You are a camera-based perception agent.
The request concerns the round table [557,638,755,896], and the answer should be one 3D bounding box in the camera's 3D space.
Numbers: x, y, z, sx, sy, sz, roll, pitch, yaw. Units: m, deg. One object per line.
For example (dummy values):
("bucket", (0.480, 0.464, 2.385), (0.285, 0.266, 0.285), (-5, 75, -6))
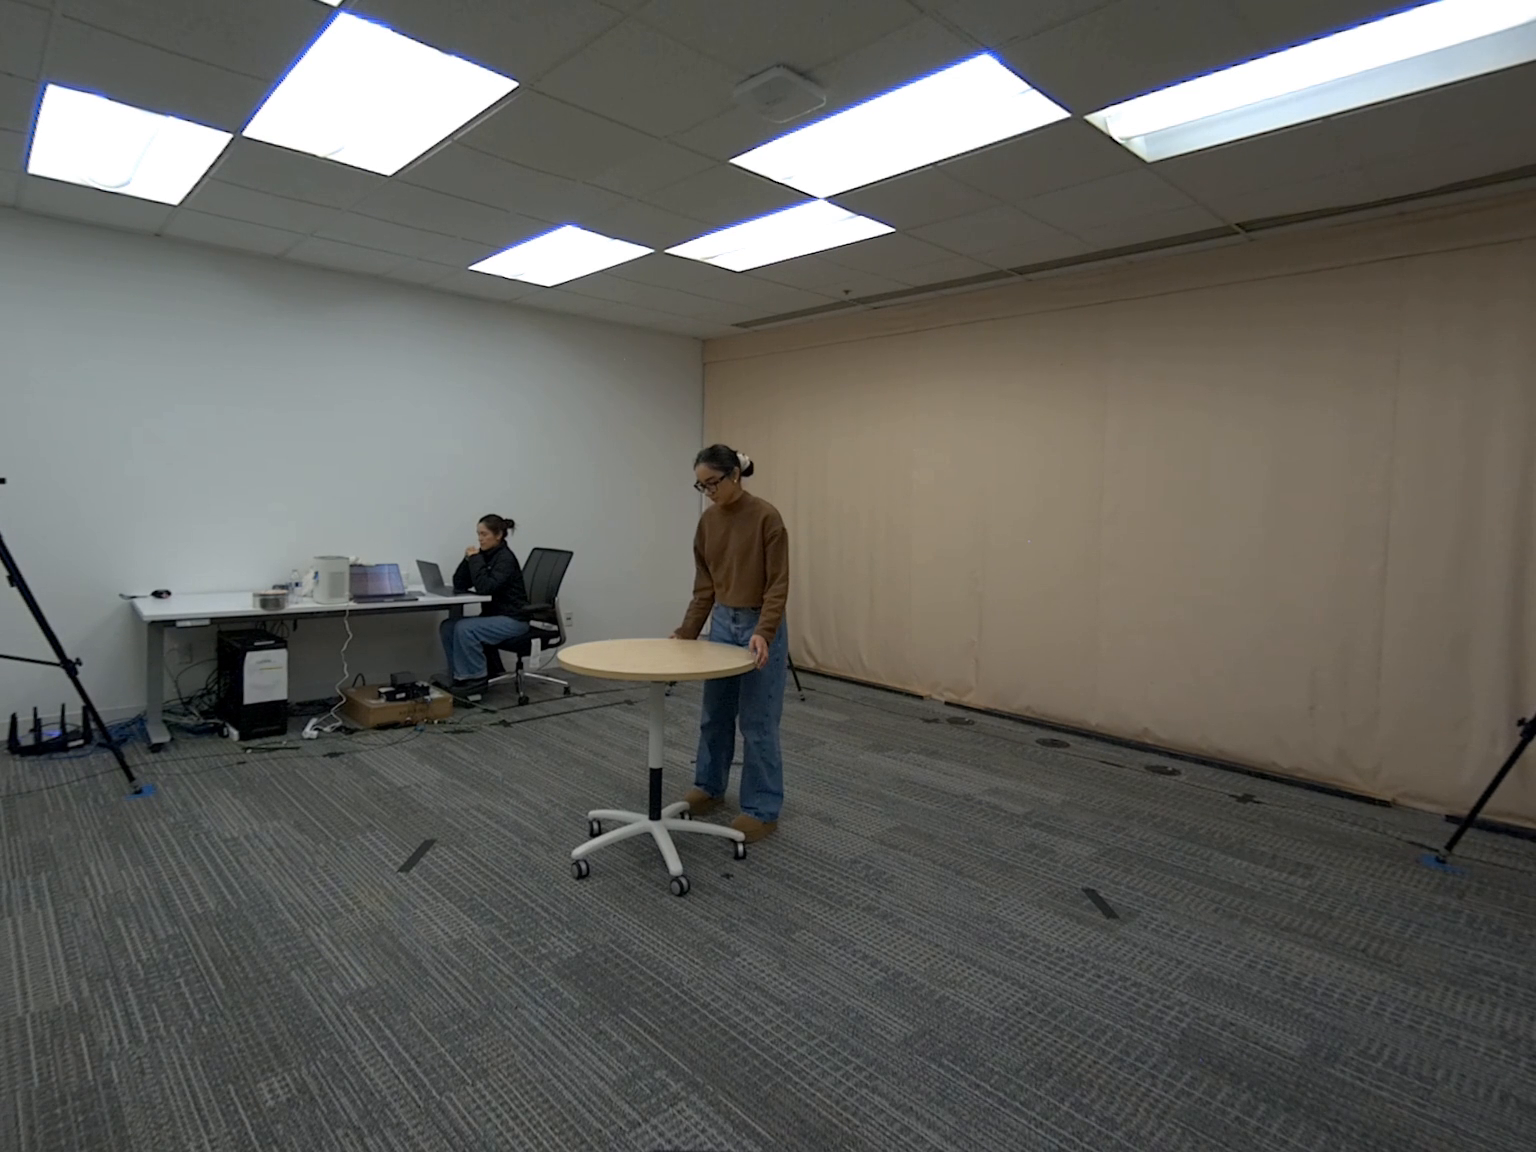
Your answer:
("round table", (-0.444, 0.697, 3.255), (0.763, 0.792, 0.766), (1, 3, -1))
